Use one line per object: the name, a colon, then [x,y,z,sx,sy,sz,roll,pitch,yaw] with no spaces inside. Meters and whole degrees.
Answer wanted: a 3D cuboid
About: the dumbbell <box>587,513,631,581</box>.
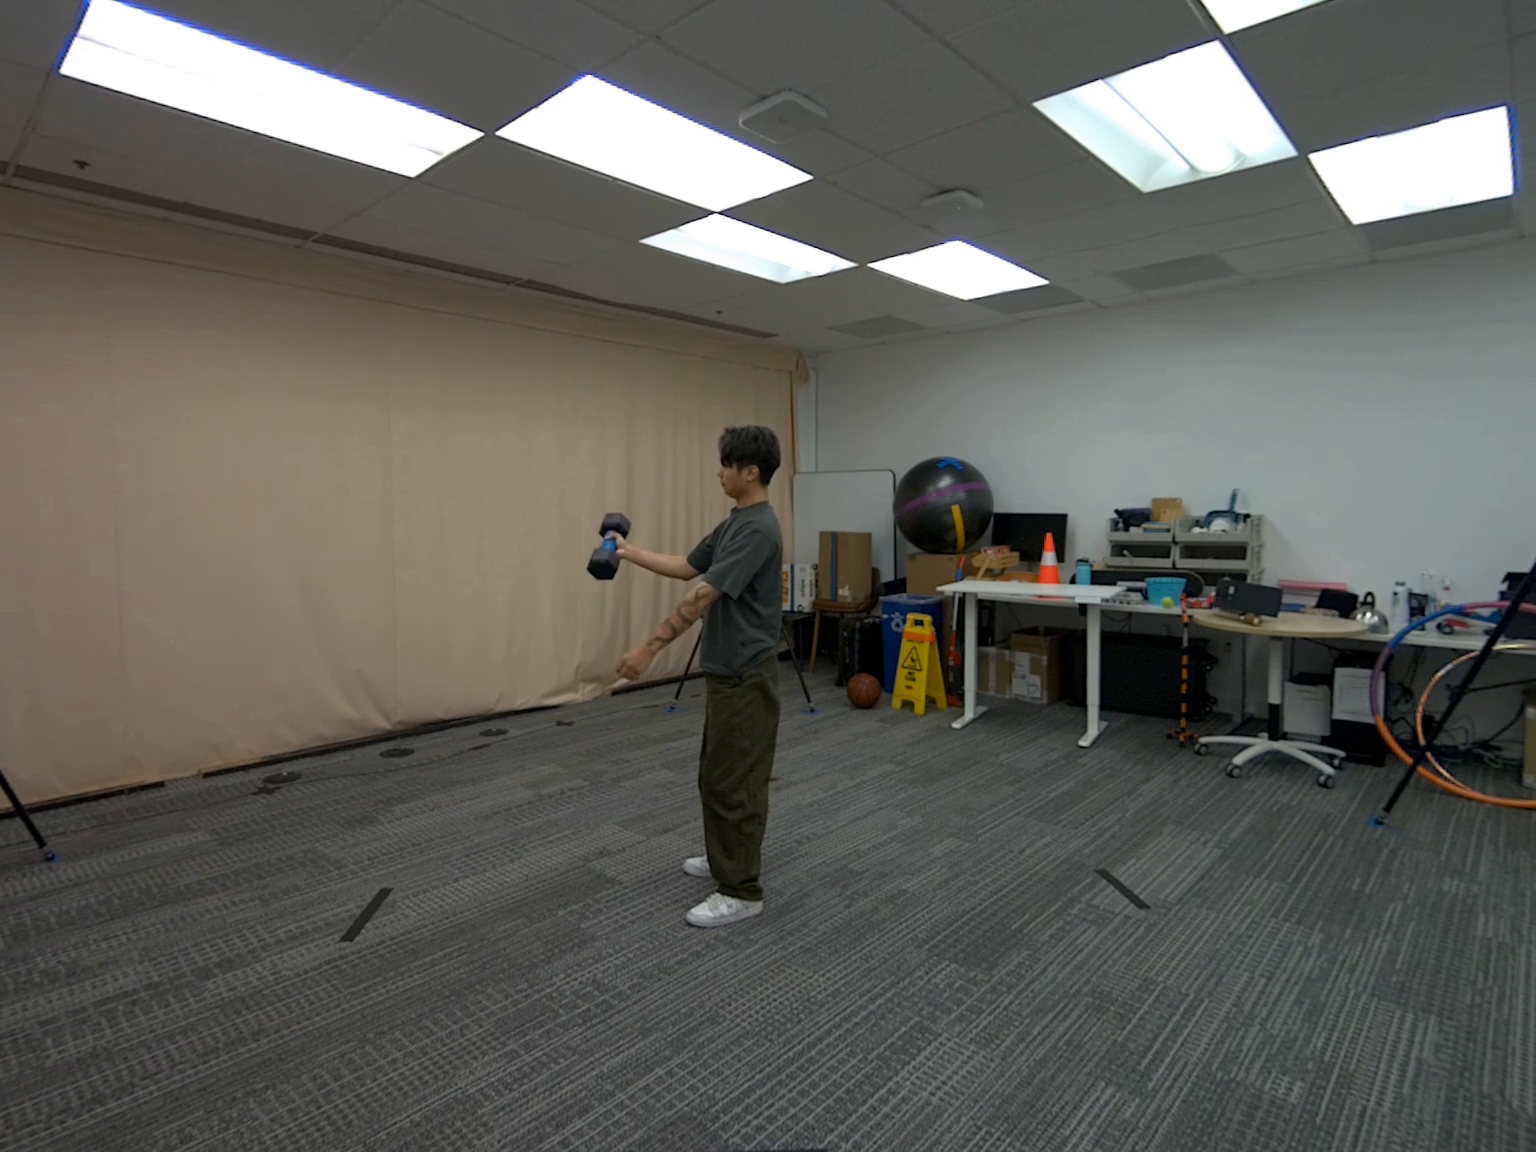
dumbbell: [-0.608,-0.118,3.247,0.110,0.119,0.298,-24,37,25]
